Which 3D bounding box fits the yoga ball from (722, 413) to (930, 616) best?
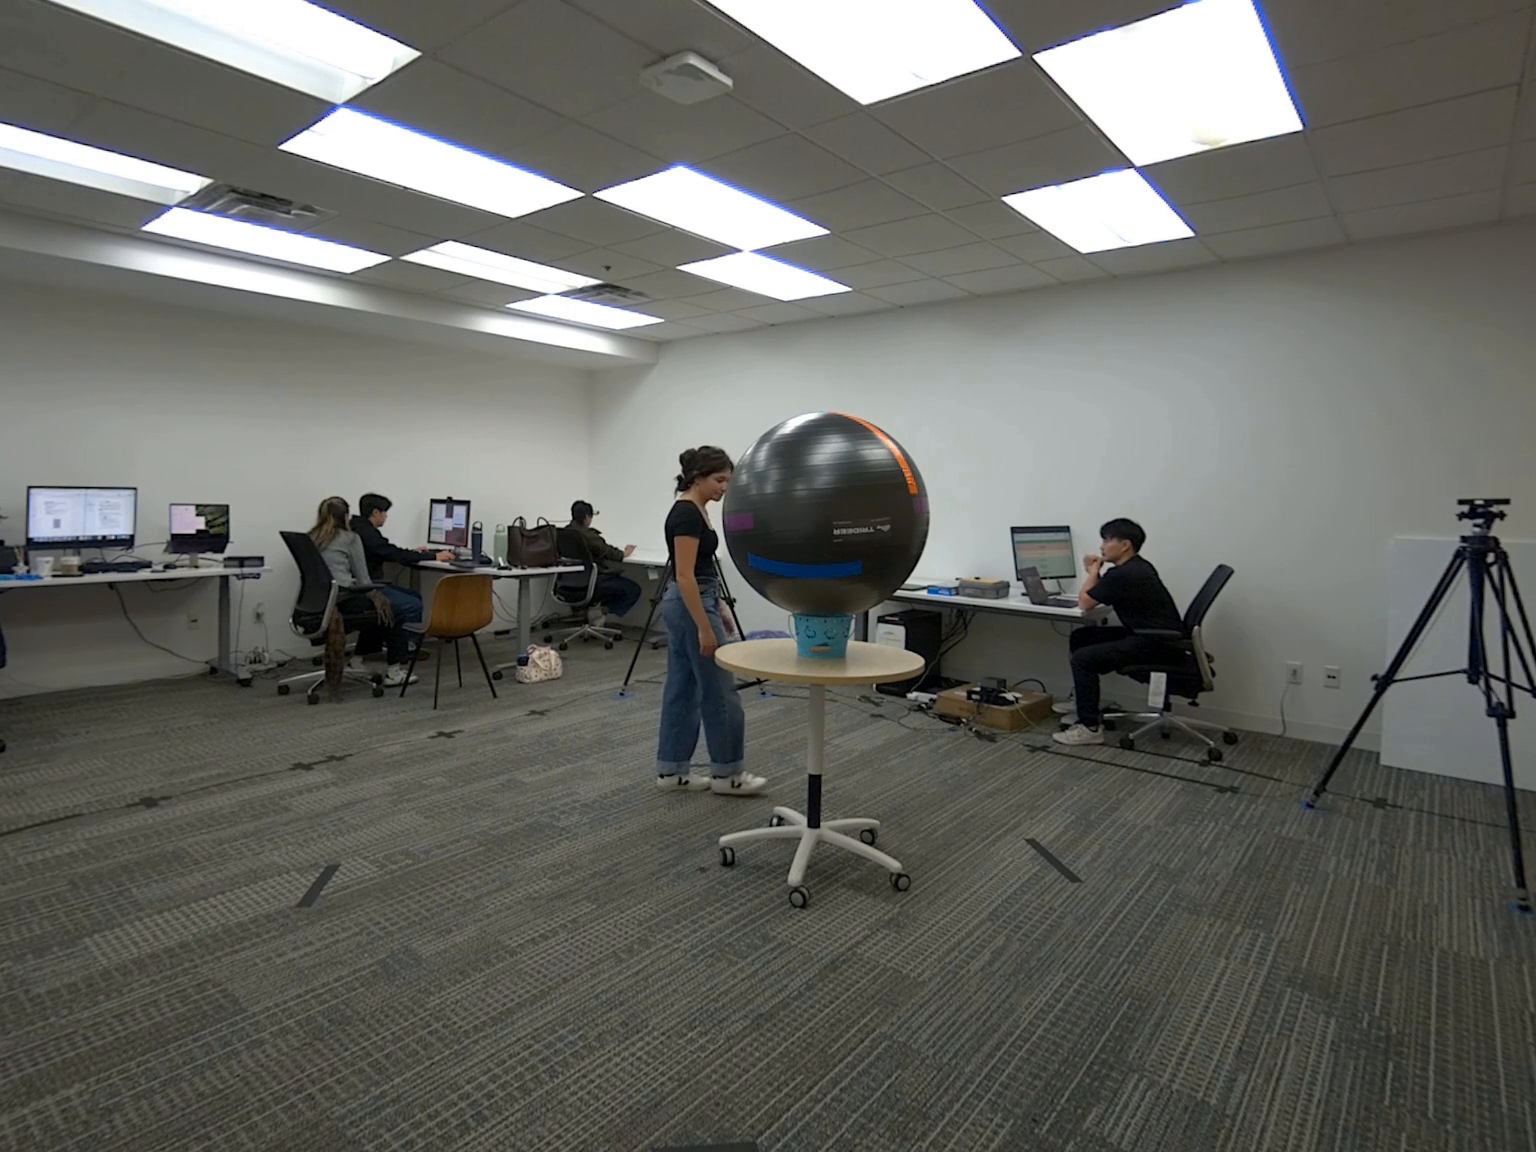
[{"bbox_3d":[0.214,-0.223,3.157,0.757,0.755,0.762,1,4,-2],"label":"yoga ball"}]
